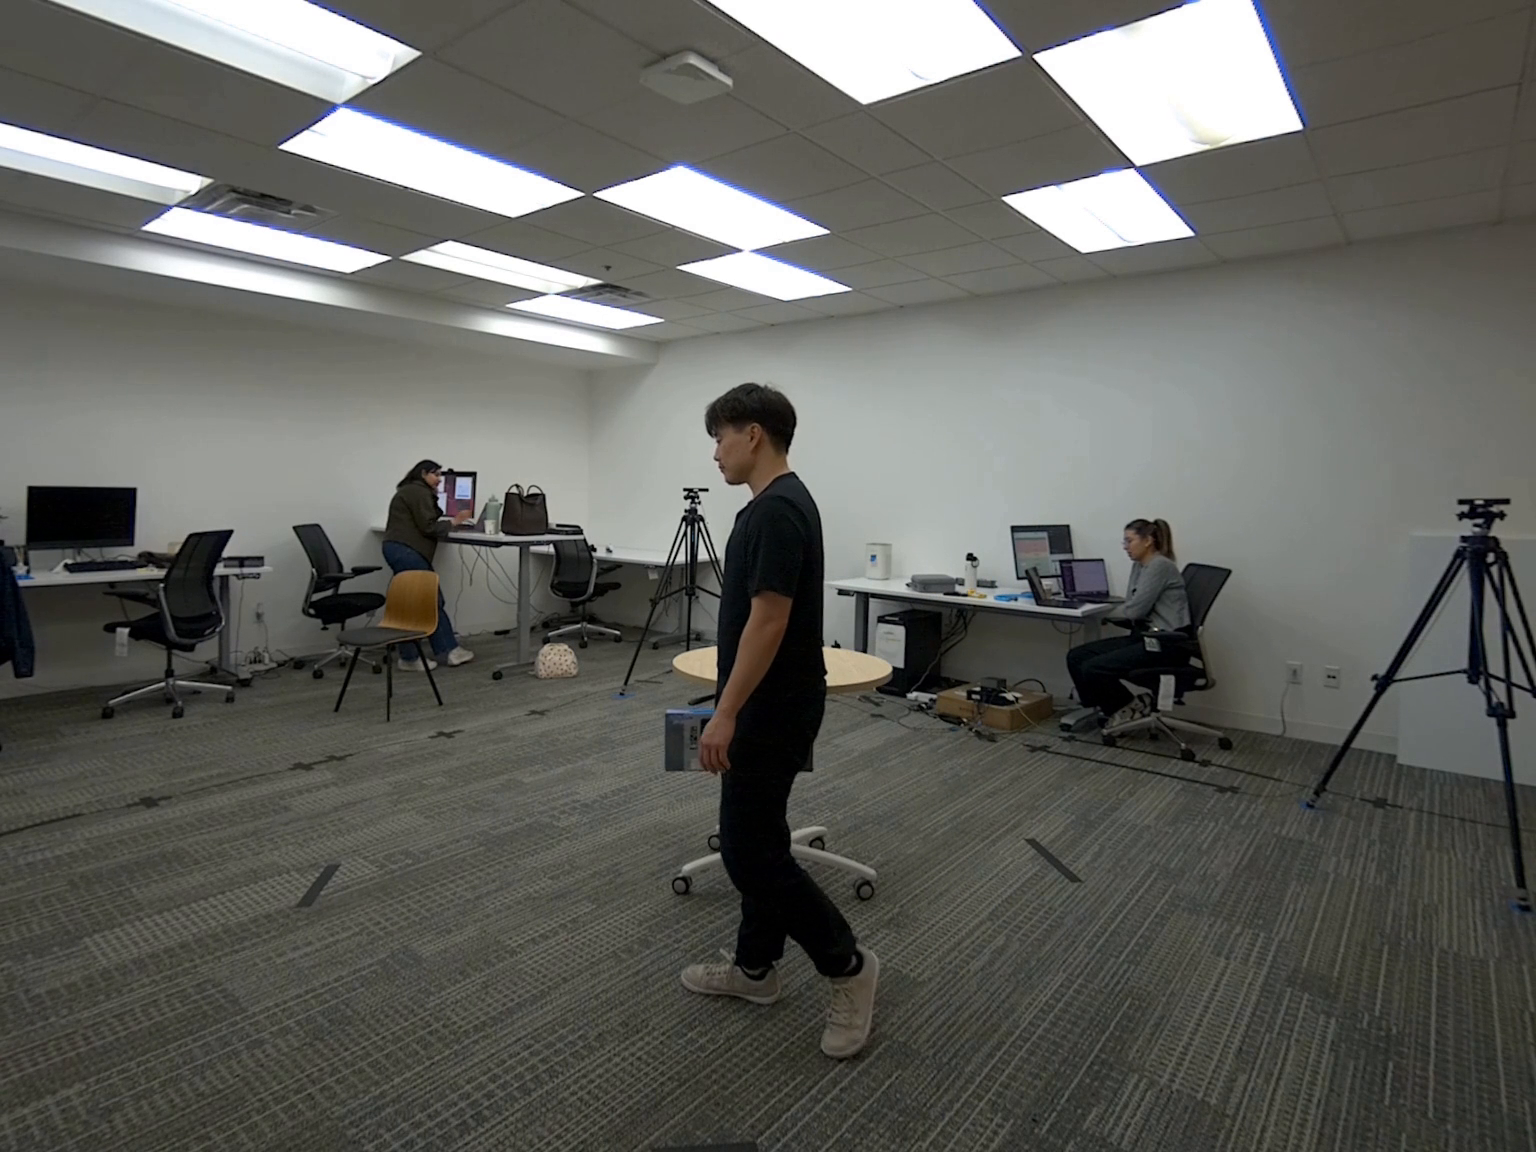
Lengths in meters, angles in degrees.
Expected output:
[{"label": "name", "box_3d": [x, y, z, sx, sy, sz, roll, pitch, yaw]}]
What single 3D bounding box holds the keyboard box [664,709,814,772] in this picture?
[{"label": "keyboard box", "box_3d": [-0.093, 0.480, 2.525, 0.436, 0.176, 0.059, 1, -2, -1]}]
